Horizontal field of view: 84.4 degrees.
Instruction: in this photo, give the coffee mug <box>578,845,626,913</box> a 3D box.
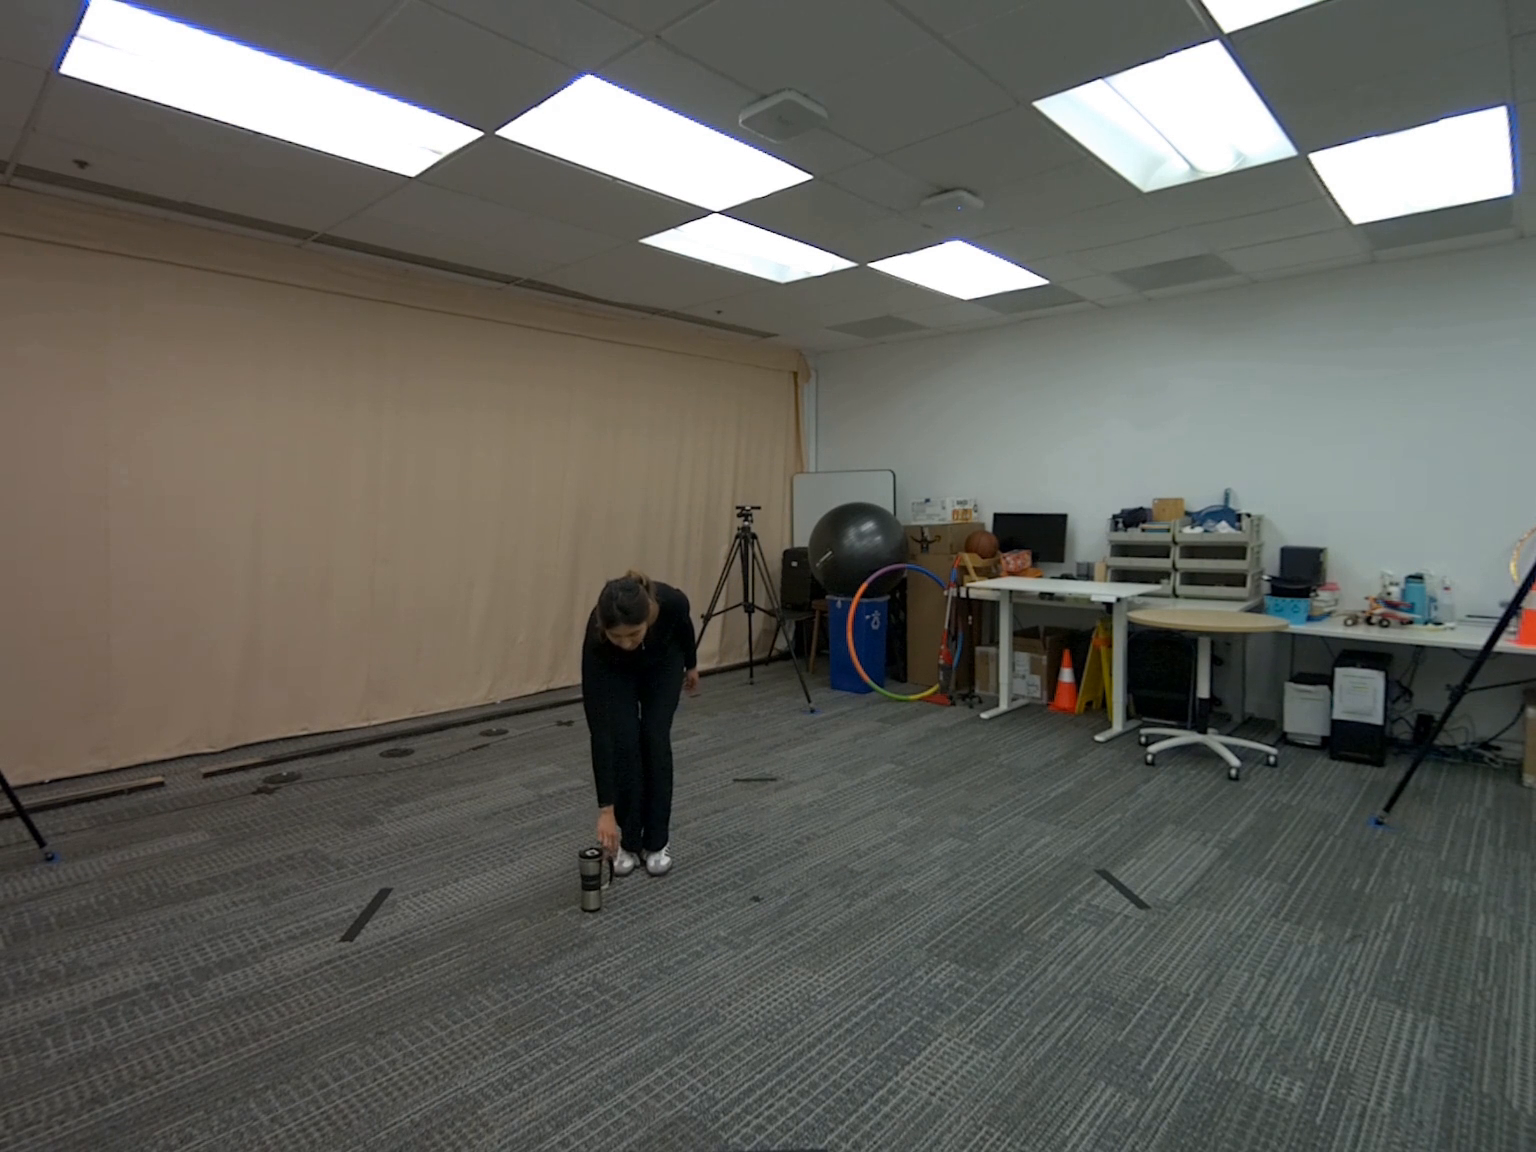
[{"bbox_3d":[-0.596,1.052,2.917,0.126,0.203,0.085,-3,-2,38],"label":"coffee mug"}]
